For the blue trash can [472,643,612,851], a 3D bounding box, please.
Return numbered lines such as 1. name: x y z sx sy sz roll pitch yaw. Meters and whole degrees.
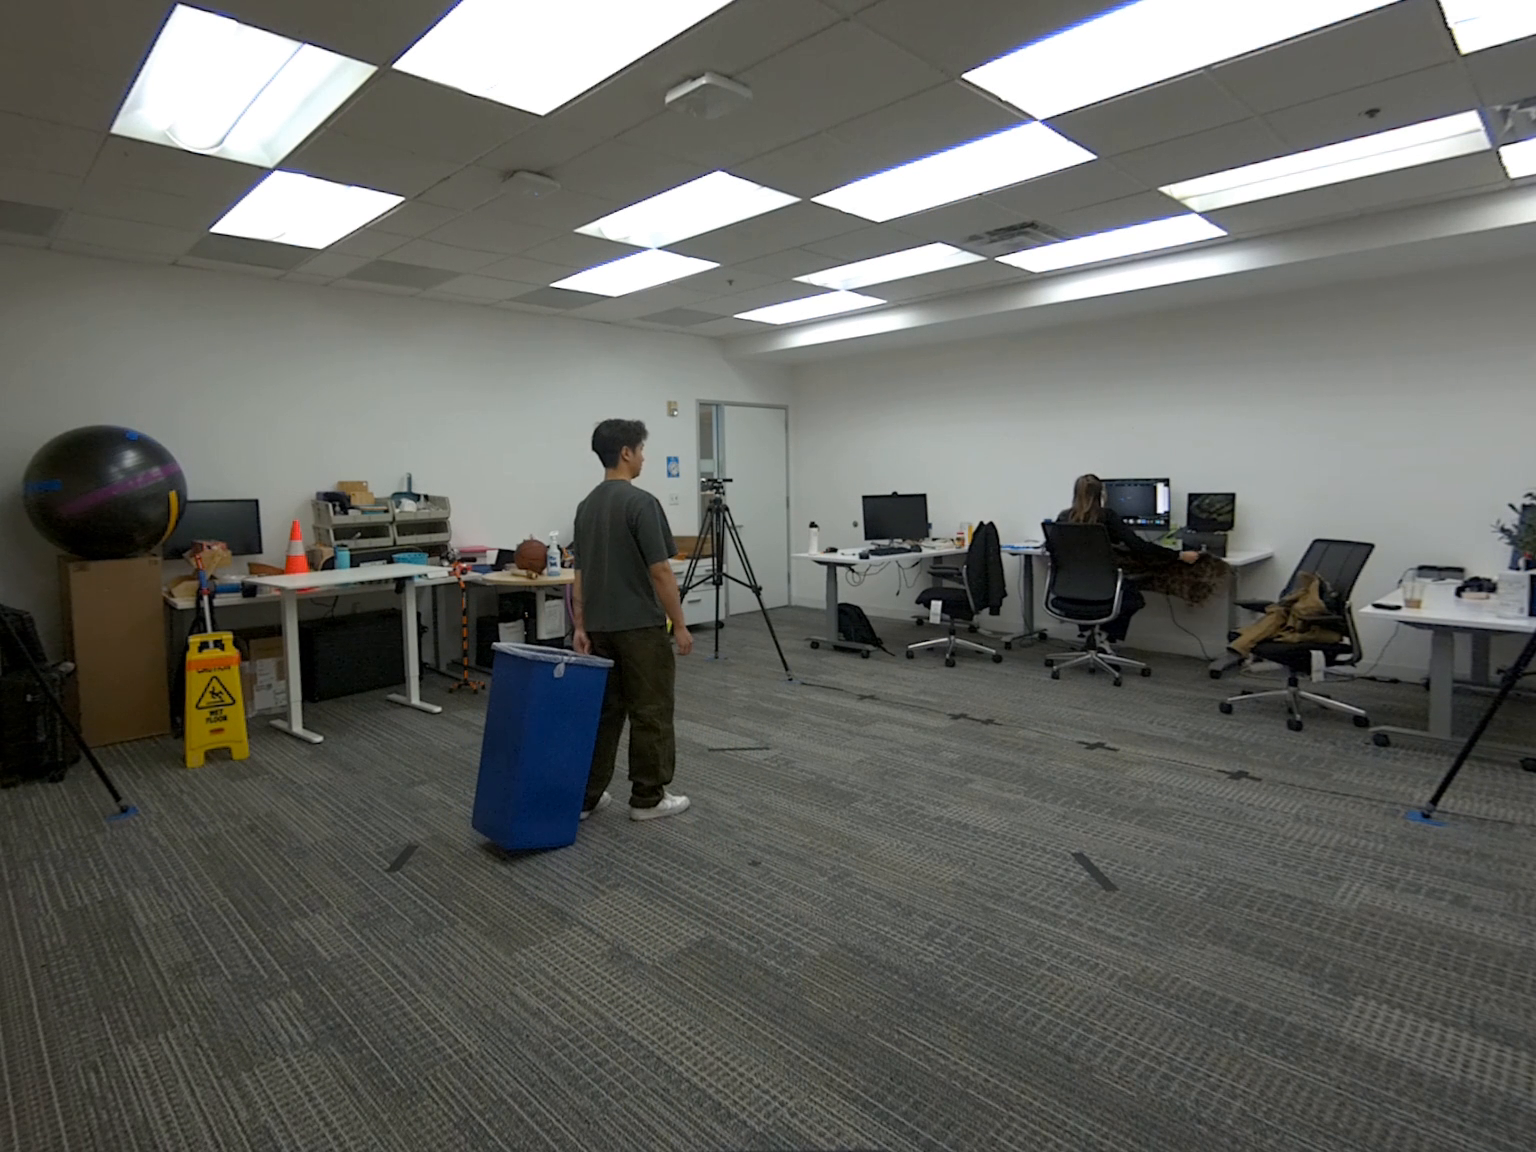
1. blue trash can: -0.905 0.650 3.351 0.386 0.716 0.365 4 -7 45
